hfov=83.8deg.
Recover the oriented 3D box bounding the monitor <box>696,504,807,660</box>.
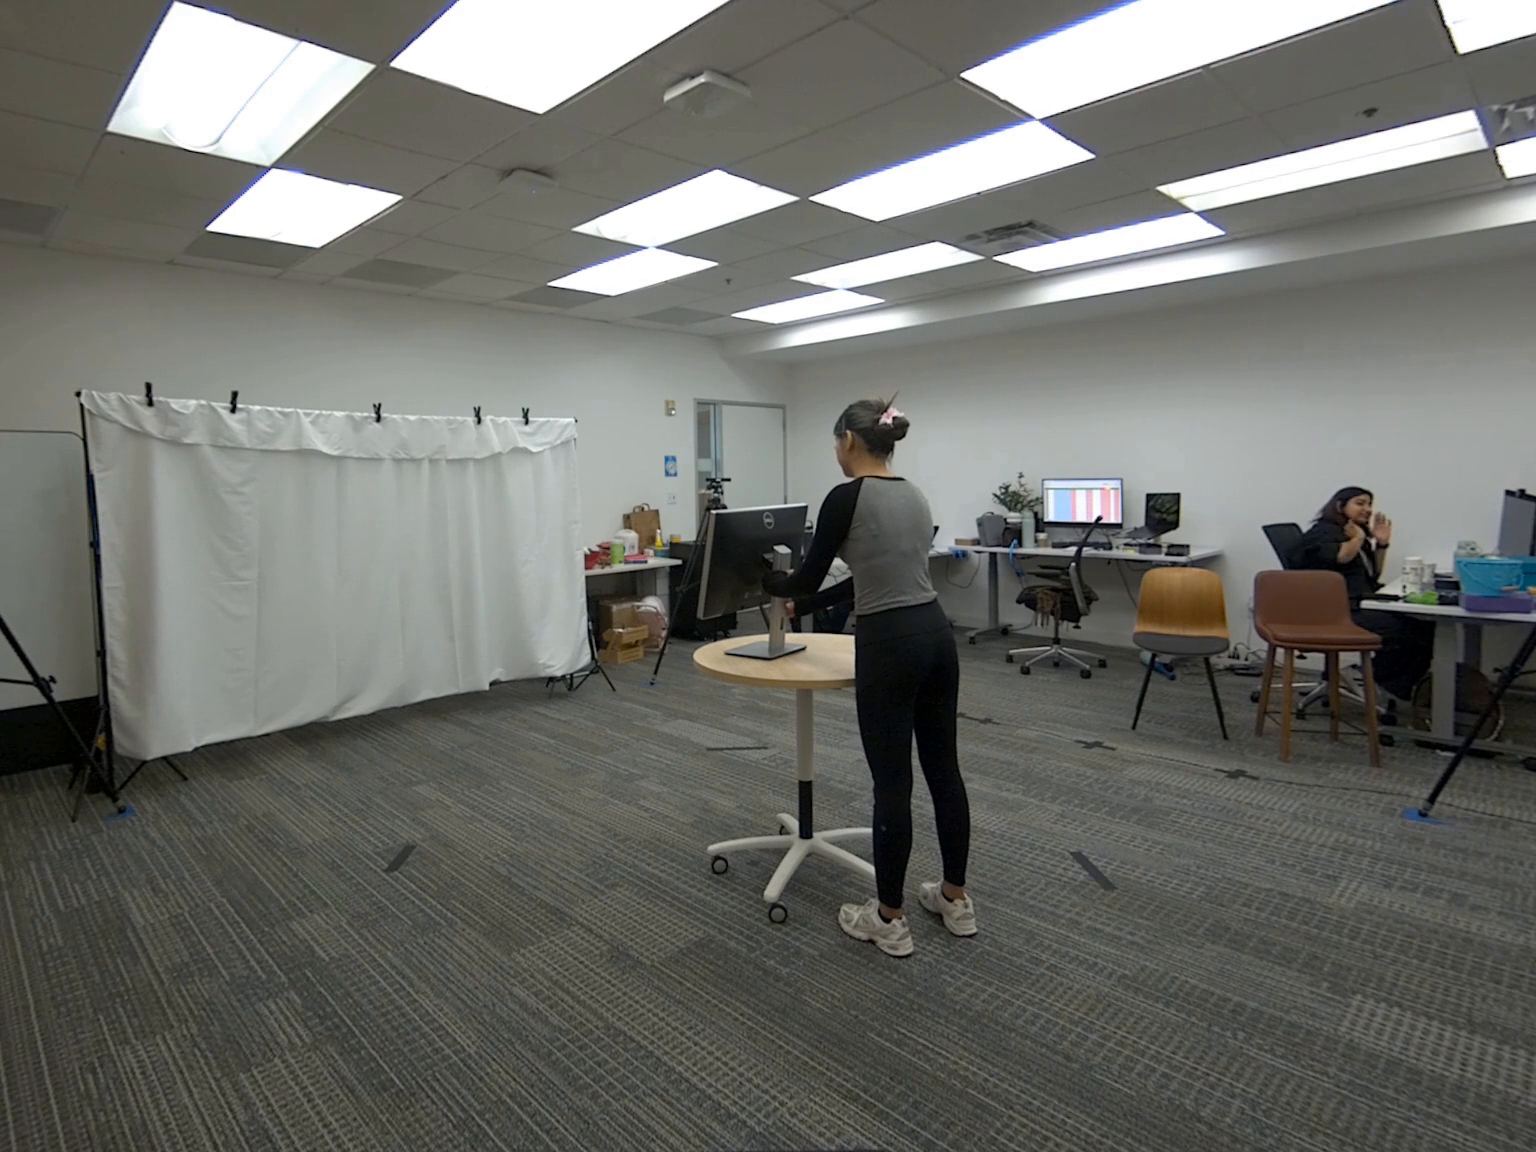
[{"bbox_3d":[-0.012,0.018,2.980,0.179,0.516,0.518,-8,1,36],"label":"monitor"}]
